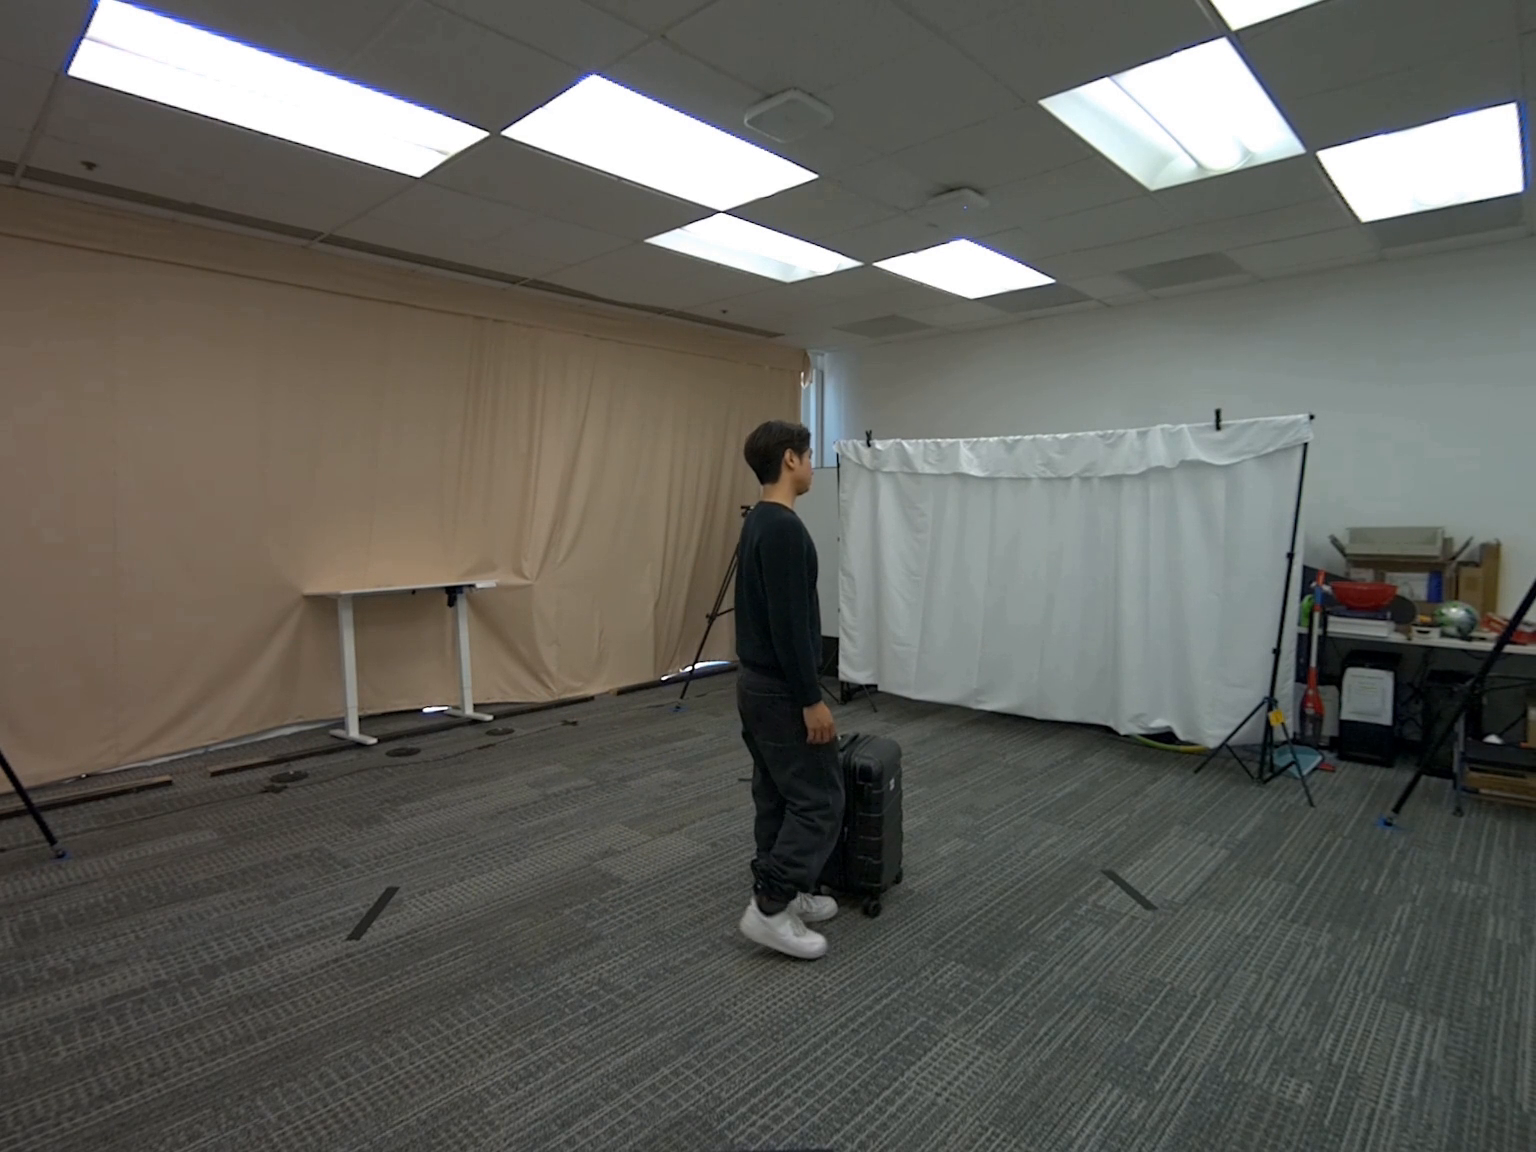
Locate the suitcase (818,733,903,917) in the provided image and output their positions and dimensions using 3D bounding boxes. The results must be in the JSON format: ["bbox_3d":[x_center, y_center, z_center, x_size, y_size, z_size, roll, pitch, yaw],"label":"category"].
[{"bbox_3d":[0.338,0.863,3.039,0.254,0.548,0.367,2,3,24],"label":"suitcase"}]
